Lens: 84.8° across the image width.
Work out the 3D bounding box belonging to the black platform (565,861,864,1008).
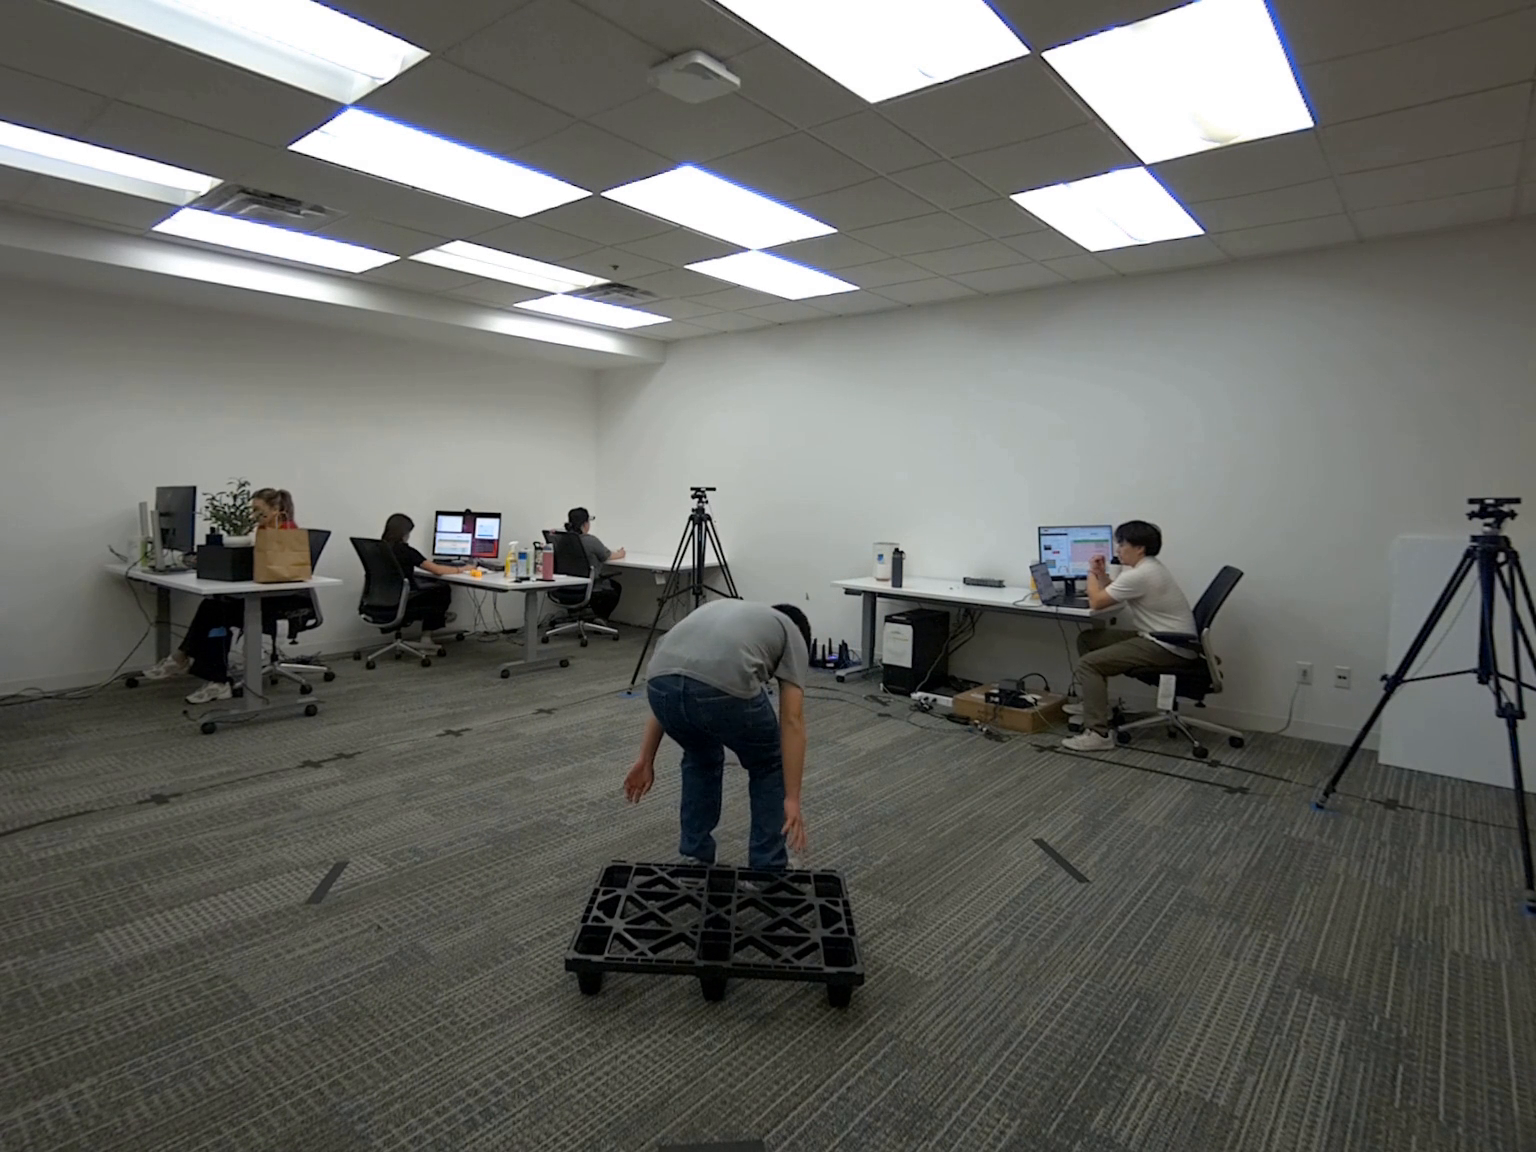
[{"bbox_3d":[-0.159,1.052,2.538,0.808,0.143,0.606,2,5,2],"label":"black platform"}]
